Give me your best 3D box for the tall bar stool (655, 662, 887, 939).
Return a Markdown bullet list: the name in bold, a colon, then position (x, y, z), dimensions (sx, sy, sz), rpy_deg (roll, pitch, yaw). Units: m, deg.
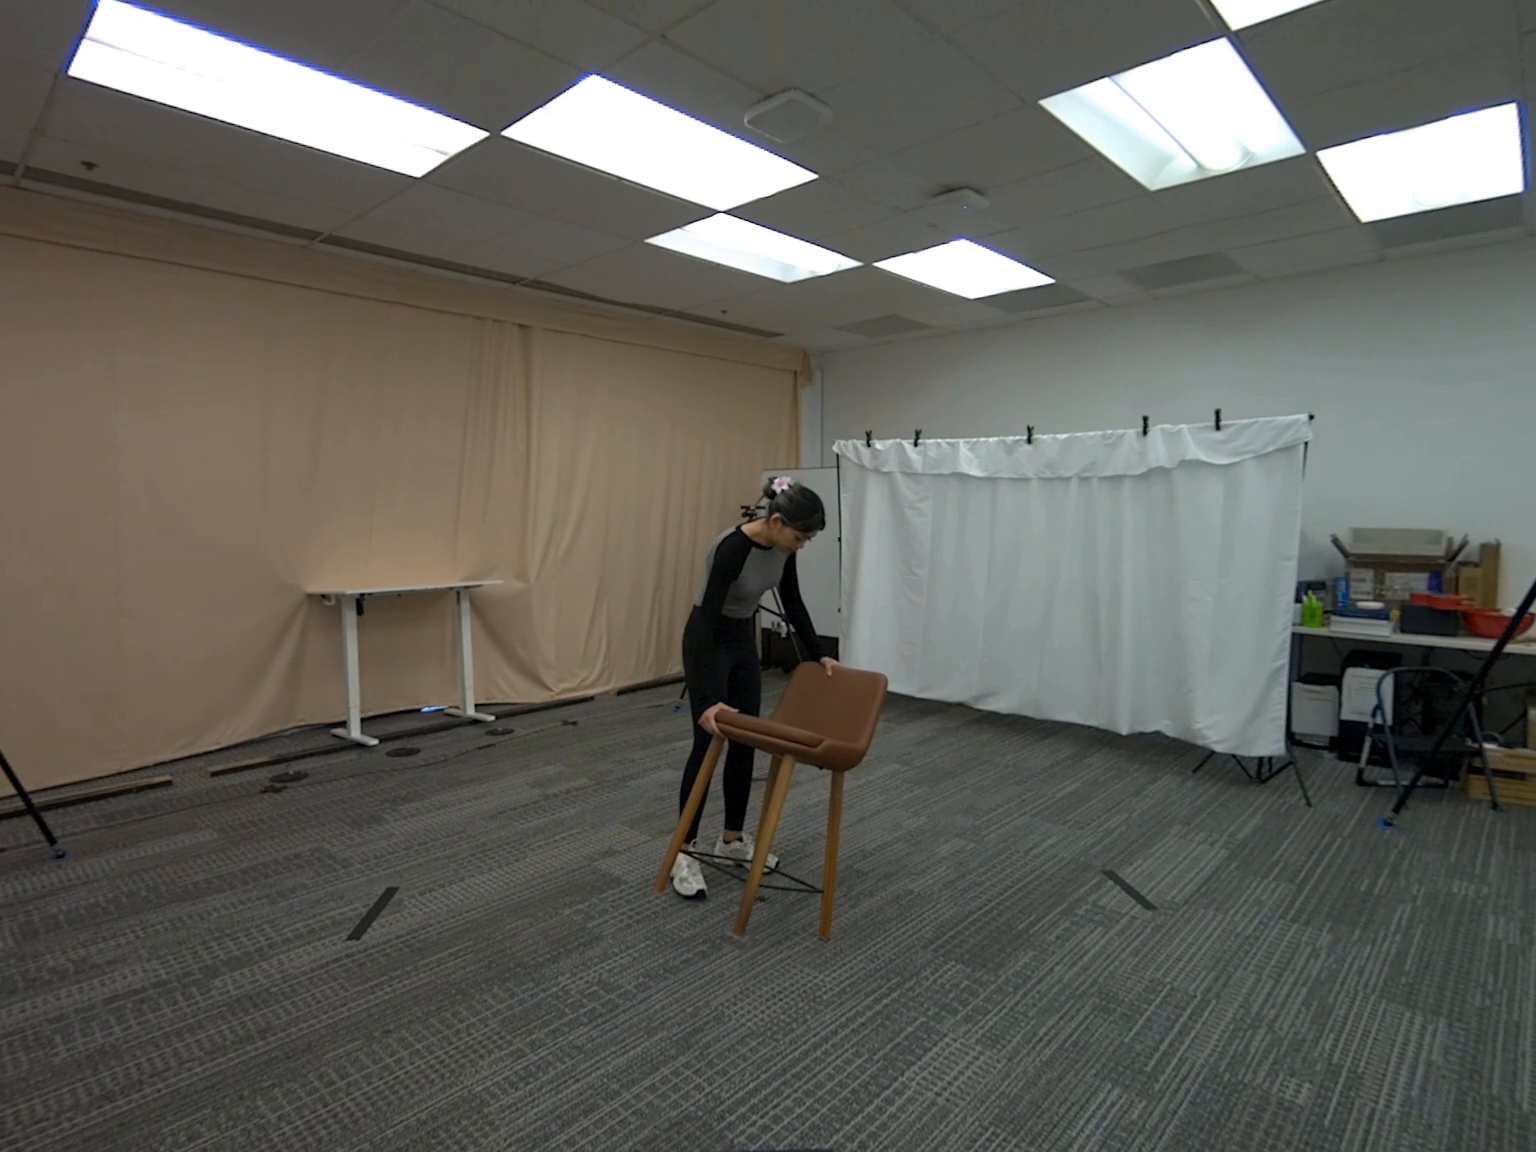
- **tall bar stool**: position (0.043, 0.683, 2.779), dimensions (0.472, 0.893, 0.451), rpy_deg (3, -17, 47)
